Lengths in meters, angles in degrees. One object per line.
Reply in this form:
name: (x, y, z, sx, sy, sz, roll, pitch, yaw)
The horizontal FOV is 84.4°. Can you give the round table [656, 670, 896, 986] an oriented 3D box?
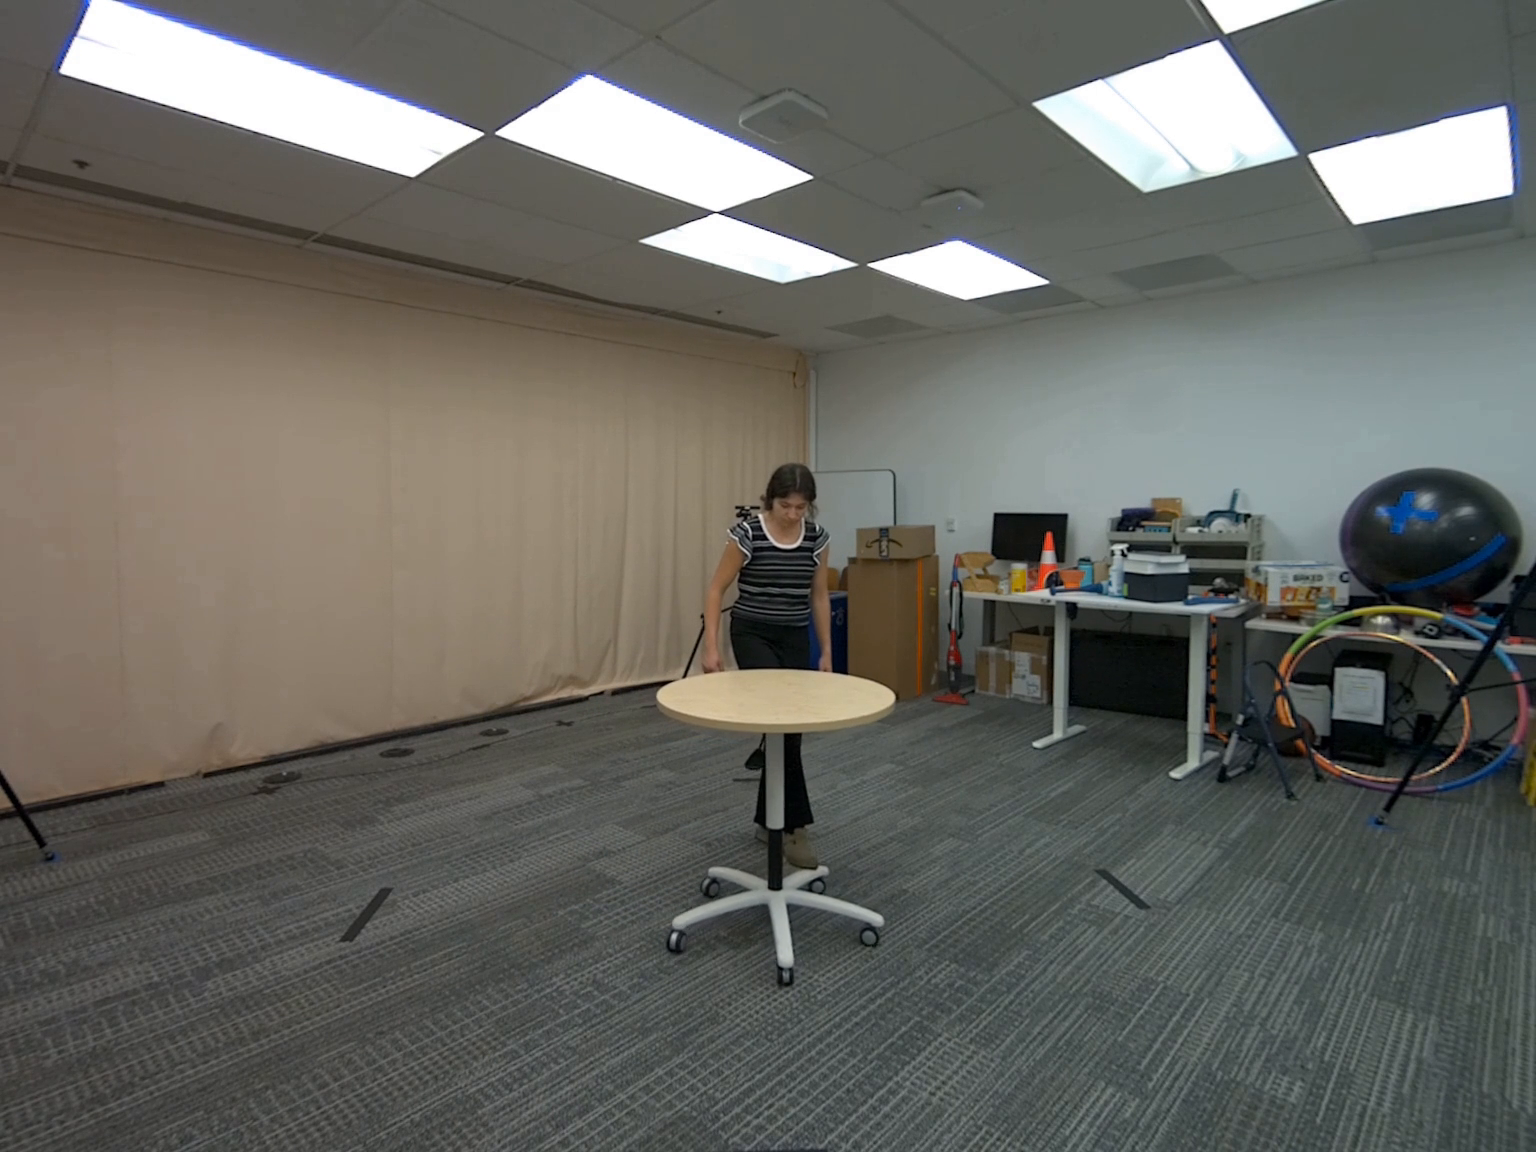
round table: (0.031, 0.764, 2.756, 0.784, 0.784, 0.788, 0, 4, -2)
